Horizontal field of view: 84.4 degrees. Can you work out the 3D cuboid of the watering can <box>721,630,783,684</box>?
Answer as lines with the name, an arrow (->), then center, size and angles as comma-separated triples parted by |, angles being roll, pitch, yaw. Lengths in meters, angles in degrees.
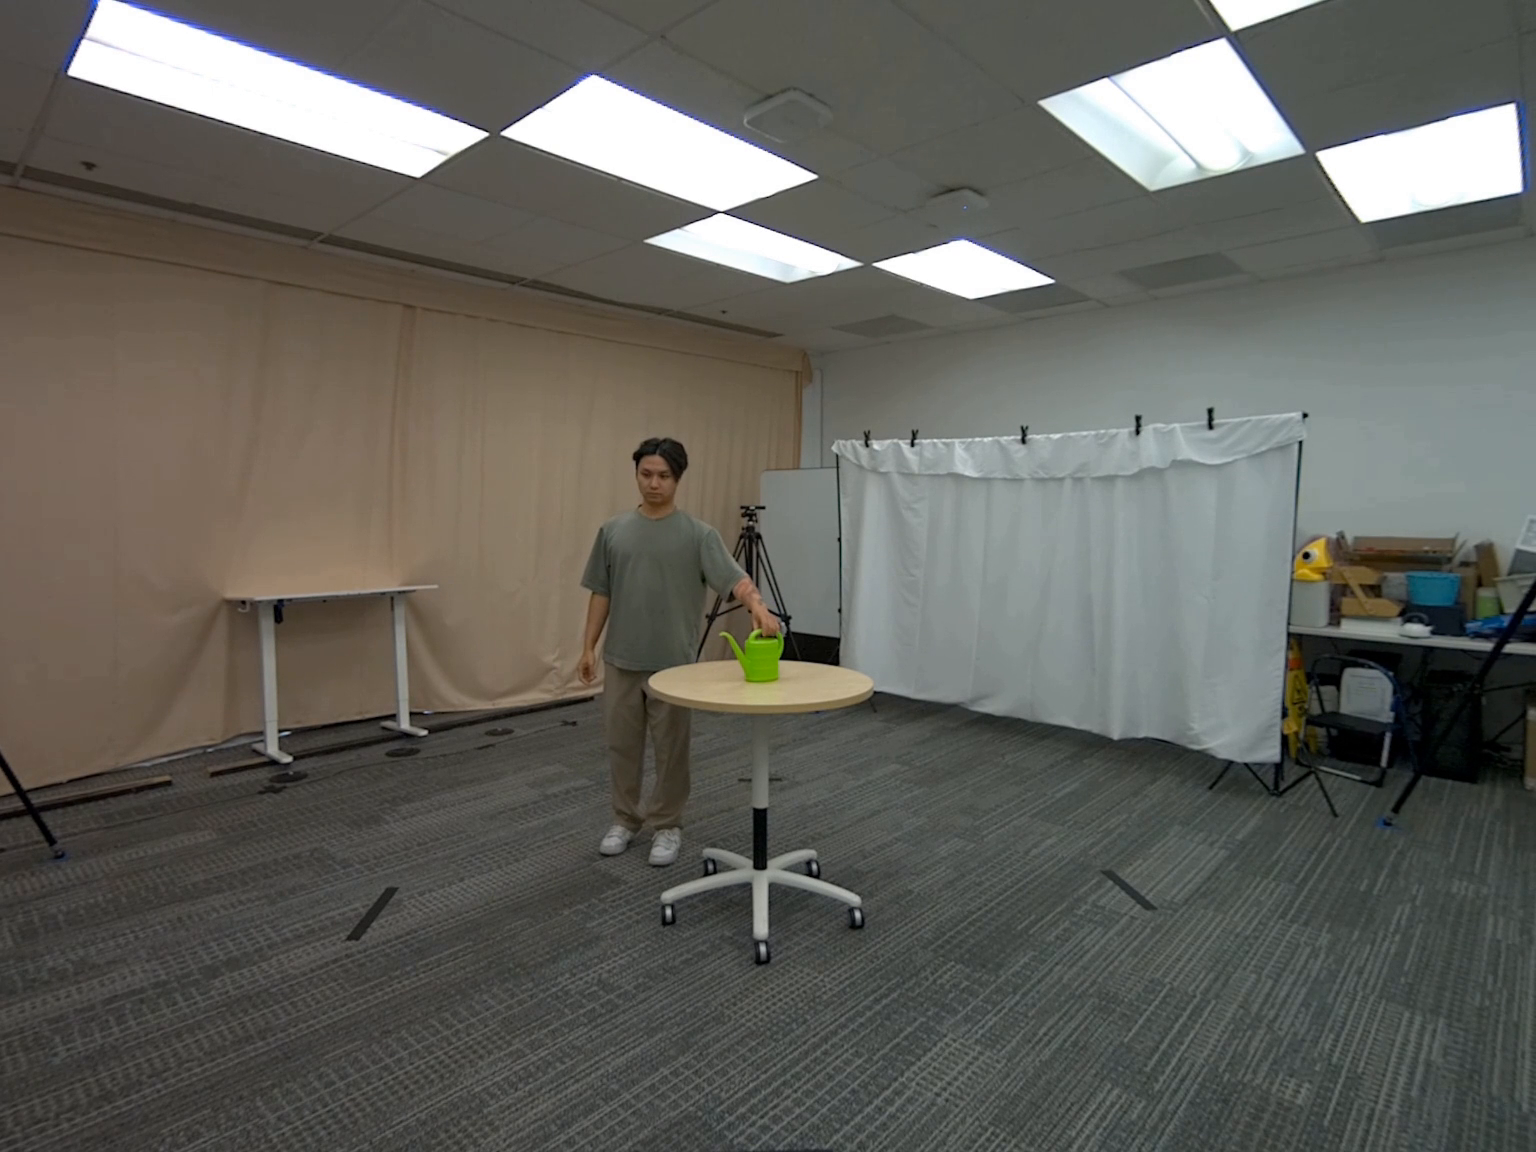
watering can -> -0.055, 0.270, 2.864 | 0.271, 0.176, 0.100 | 0, 2, -25
